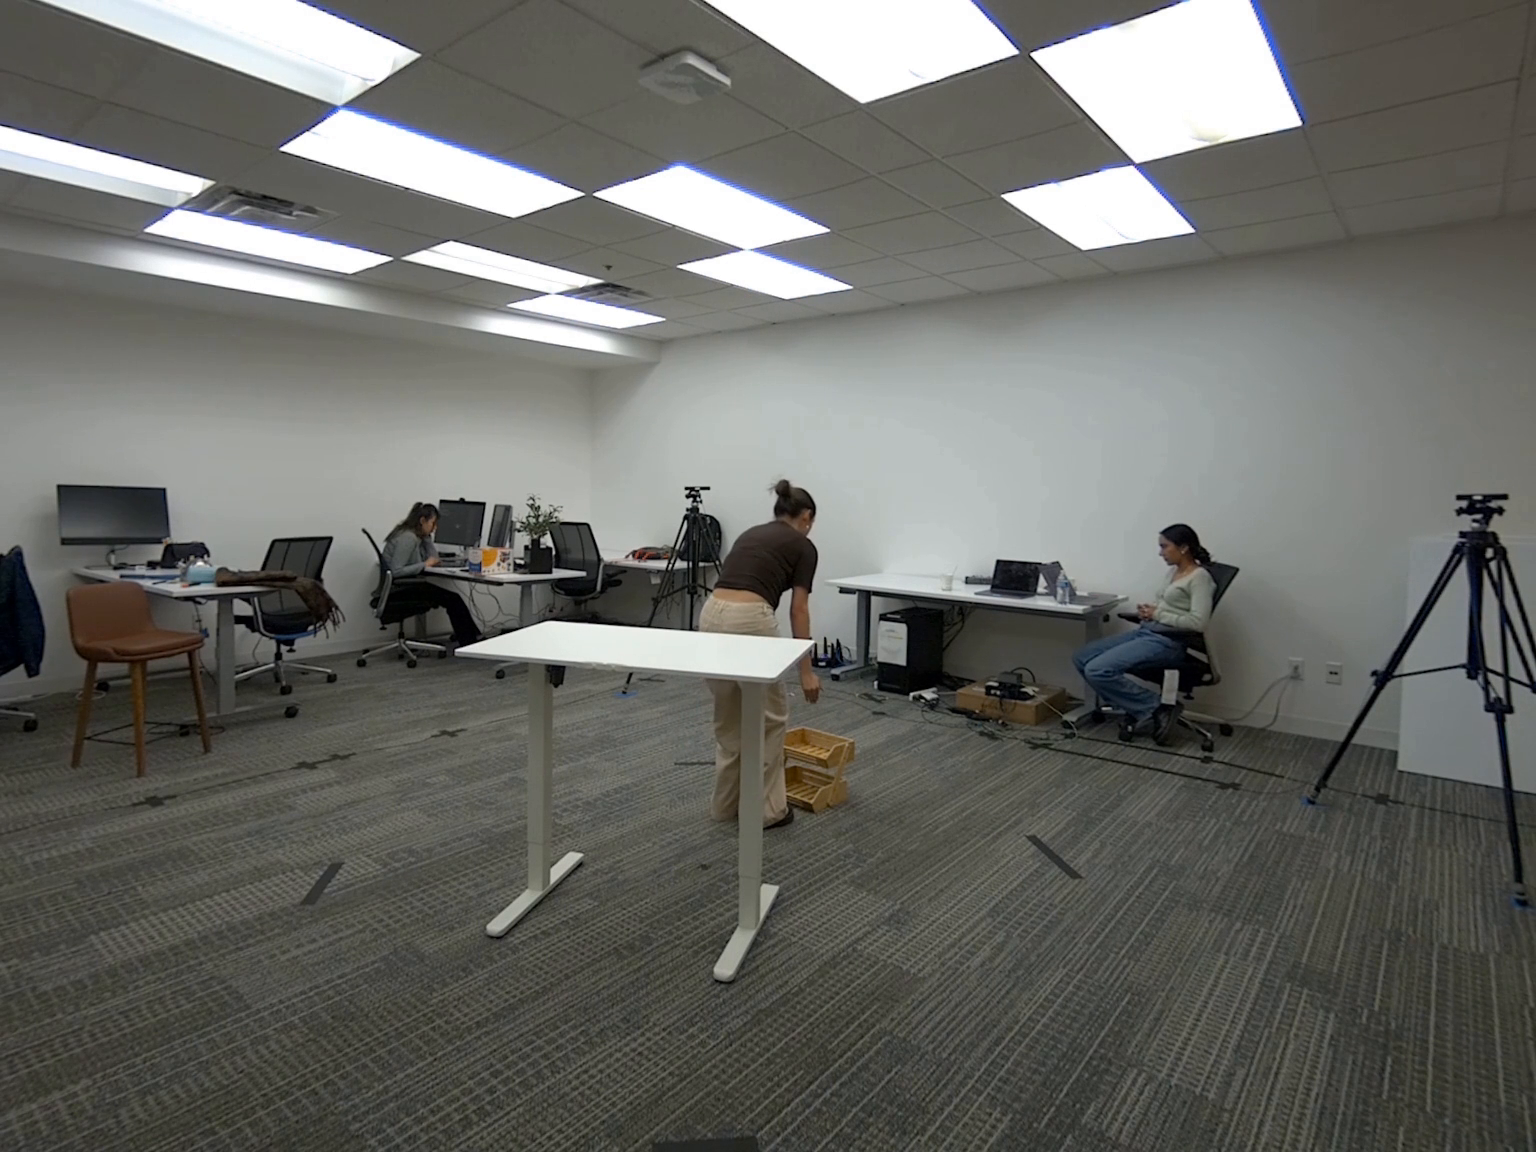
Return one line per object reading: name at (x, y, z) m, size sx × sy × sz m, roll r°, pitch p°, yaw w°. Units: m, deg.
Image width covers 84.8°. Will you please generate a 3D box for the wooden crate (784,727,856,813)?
wooden crate at (0.170, 0.860, 3.855) m, size 0.335 × 0.273 × 0.293 m, roll 5°, pitch 5°, yaw 43°
